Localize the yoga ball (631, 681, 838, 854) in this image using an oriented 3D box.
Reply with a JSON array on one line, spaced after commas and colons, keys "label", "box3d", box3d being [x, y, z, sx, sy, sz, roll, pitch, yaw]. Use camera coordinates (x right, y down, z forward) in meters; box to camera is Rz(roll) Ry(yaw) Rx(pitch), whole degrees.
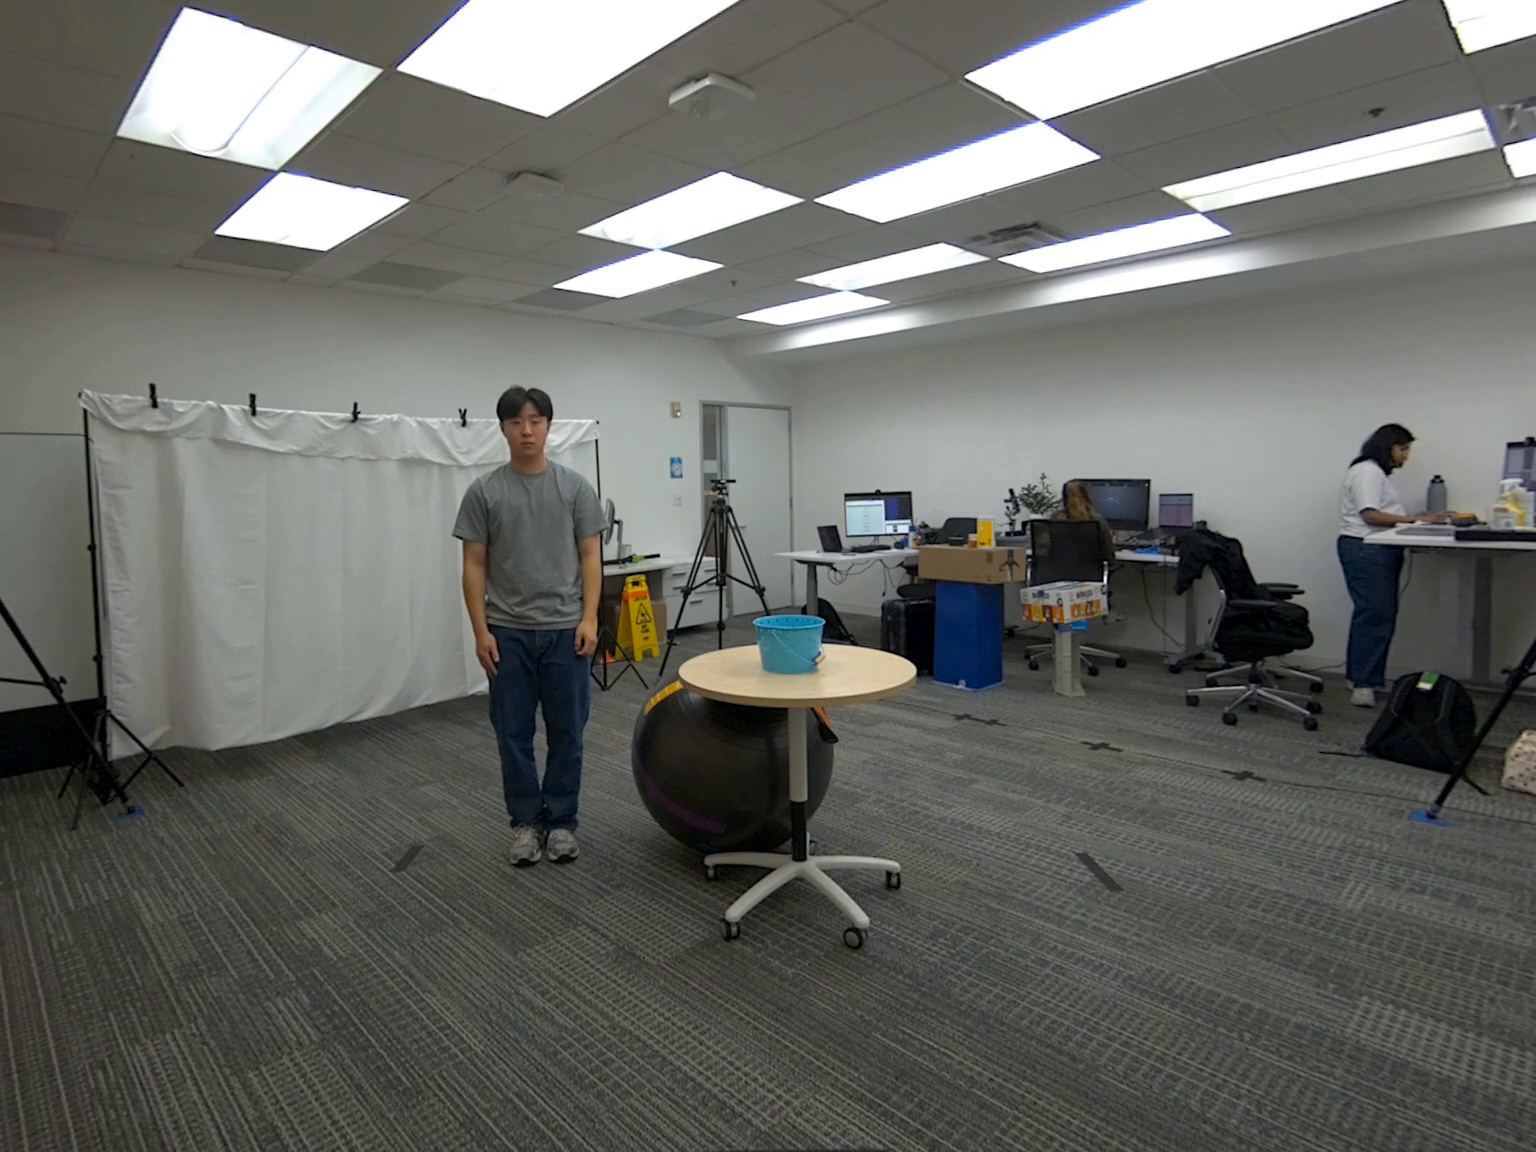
[{"label": "yoga ball", "box3d": [-0.135, 0.666, 3.239, 0.757, 0.755, 0.762, -1, 5, -2]}]
